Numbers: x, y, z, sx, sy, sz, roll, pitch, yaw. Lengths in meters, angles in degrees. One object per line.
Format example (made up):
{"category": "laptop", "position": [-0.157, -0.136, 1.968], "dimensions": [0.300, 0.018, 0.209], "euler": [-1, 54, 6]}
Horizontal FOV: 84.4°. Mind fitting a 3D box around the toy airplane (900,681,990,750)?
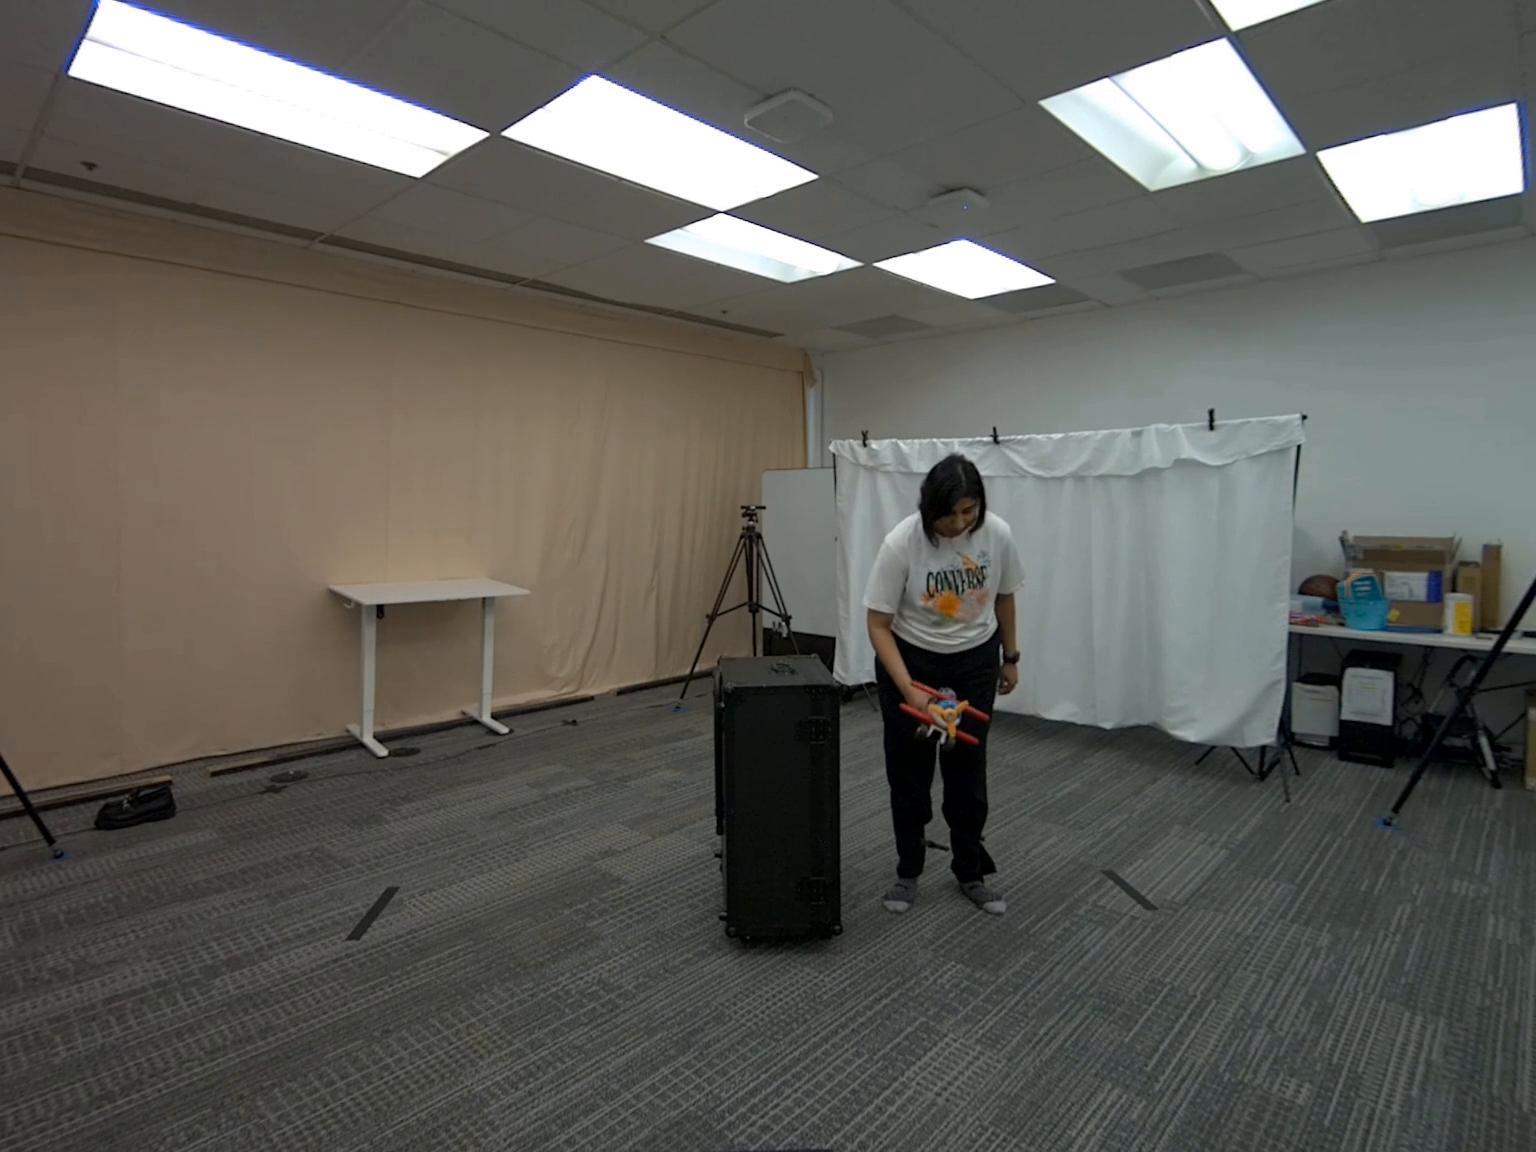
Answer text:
{"category": "toy airplane", "position": [0.526, 0.427, 2.648], "dimensions": [0.245, 0.156, 0.266], "euler": [18, 13, -22]}
